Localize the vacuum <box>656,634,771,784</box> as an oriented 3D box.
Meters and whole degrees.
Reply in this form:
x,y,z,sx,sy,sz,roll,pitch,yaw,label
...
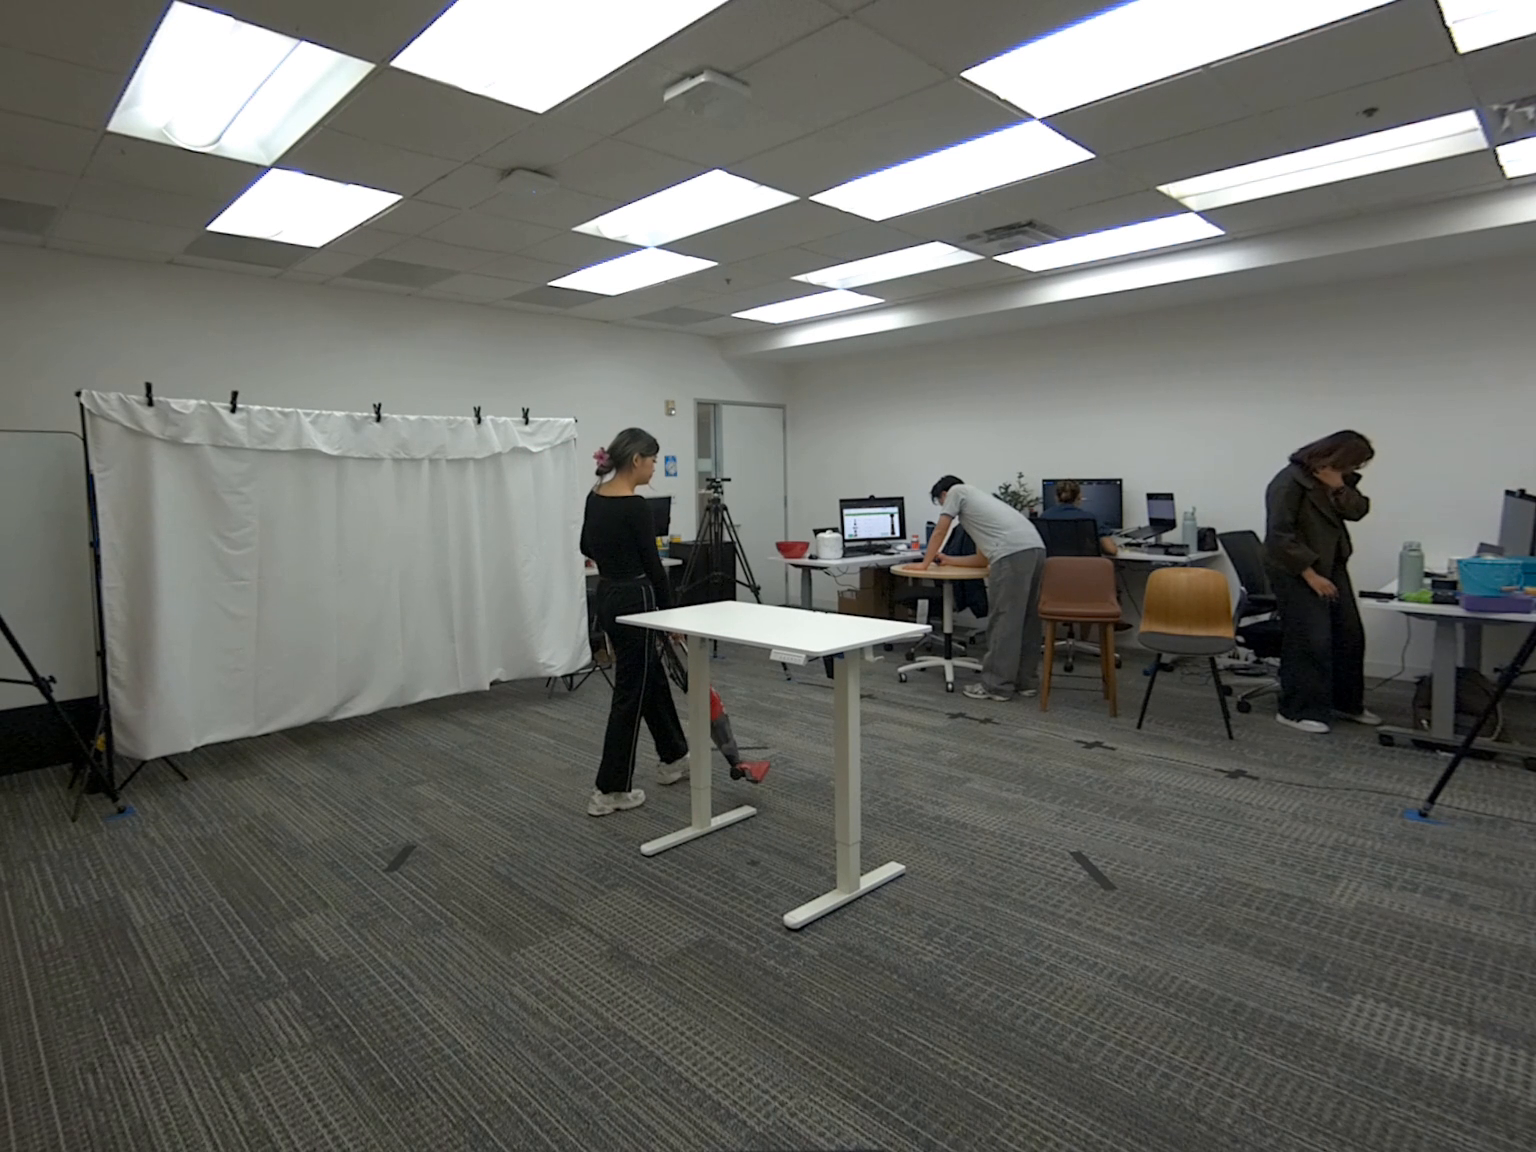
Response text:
x,y,z,sx,sy,sz,roll,pitch,yaw,label
-0.347,0.421,3.754,0.144,1.059,0.249,-34,-7,14,vacuum
